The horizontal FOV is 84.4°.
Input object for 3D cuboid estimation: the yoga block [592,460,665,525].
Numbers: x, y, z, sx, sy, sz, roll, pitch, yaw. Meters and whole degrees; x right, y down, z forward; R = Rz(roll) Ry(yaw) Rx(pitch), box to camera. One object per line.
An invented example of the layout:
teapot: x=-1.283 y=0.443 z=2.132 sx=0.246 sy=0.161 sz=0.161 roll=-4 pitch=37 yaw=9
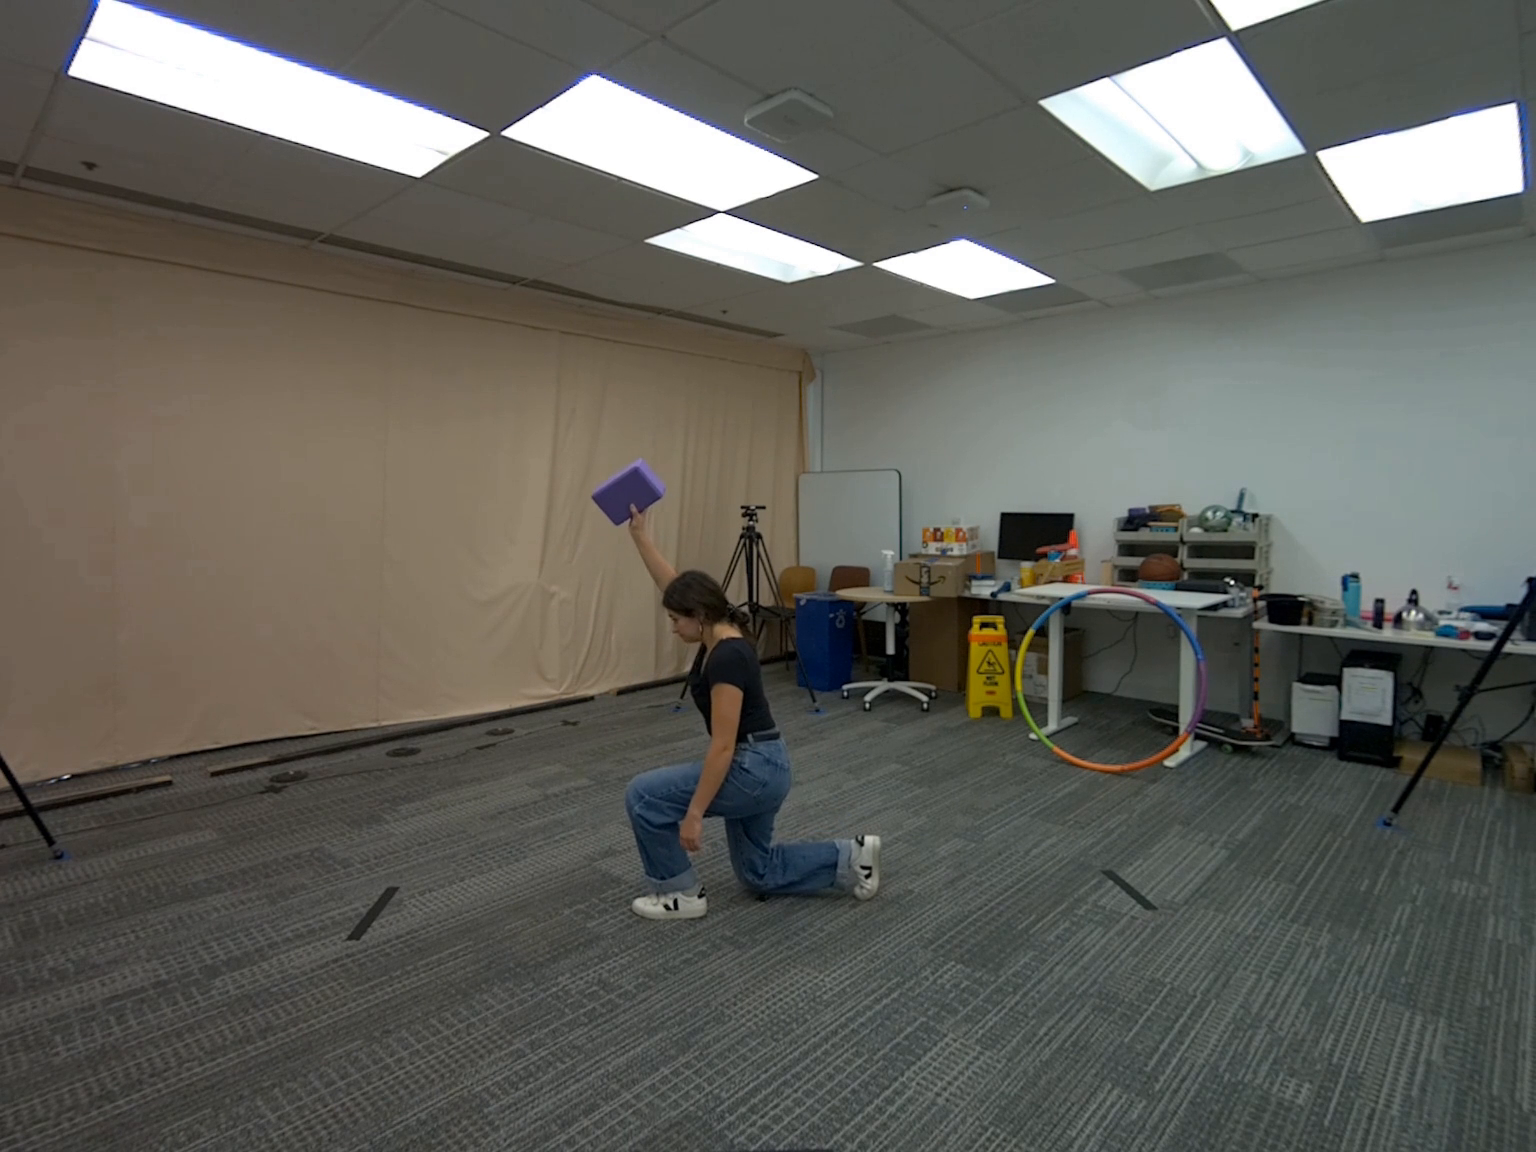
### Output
yoga block: x=-0.511 y=-0.294 z=3.000 sx=0.233 sy=0.146 sz=0.077 roll=-29 pitch=23 yaw=25
